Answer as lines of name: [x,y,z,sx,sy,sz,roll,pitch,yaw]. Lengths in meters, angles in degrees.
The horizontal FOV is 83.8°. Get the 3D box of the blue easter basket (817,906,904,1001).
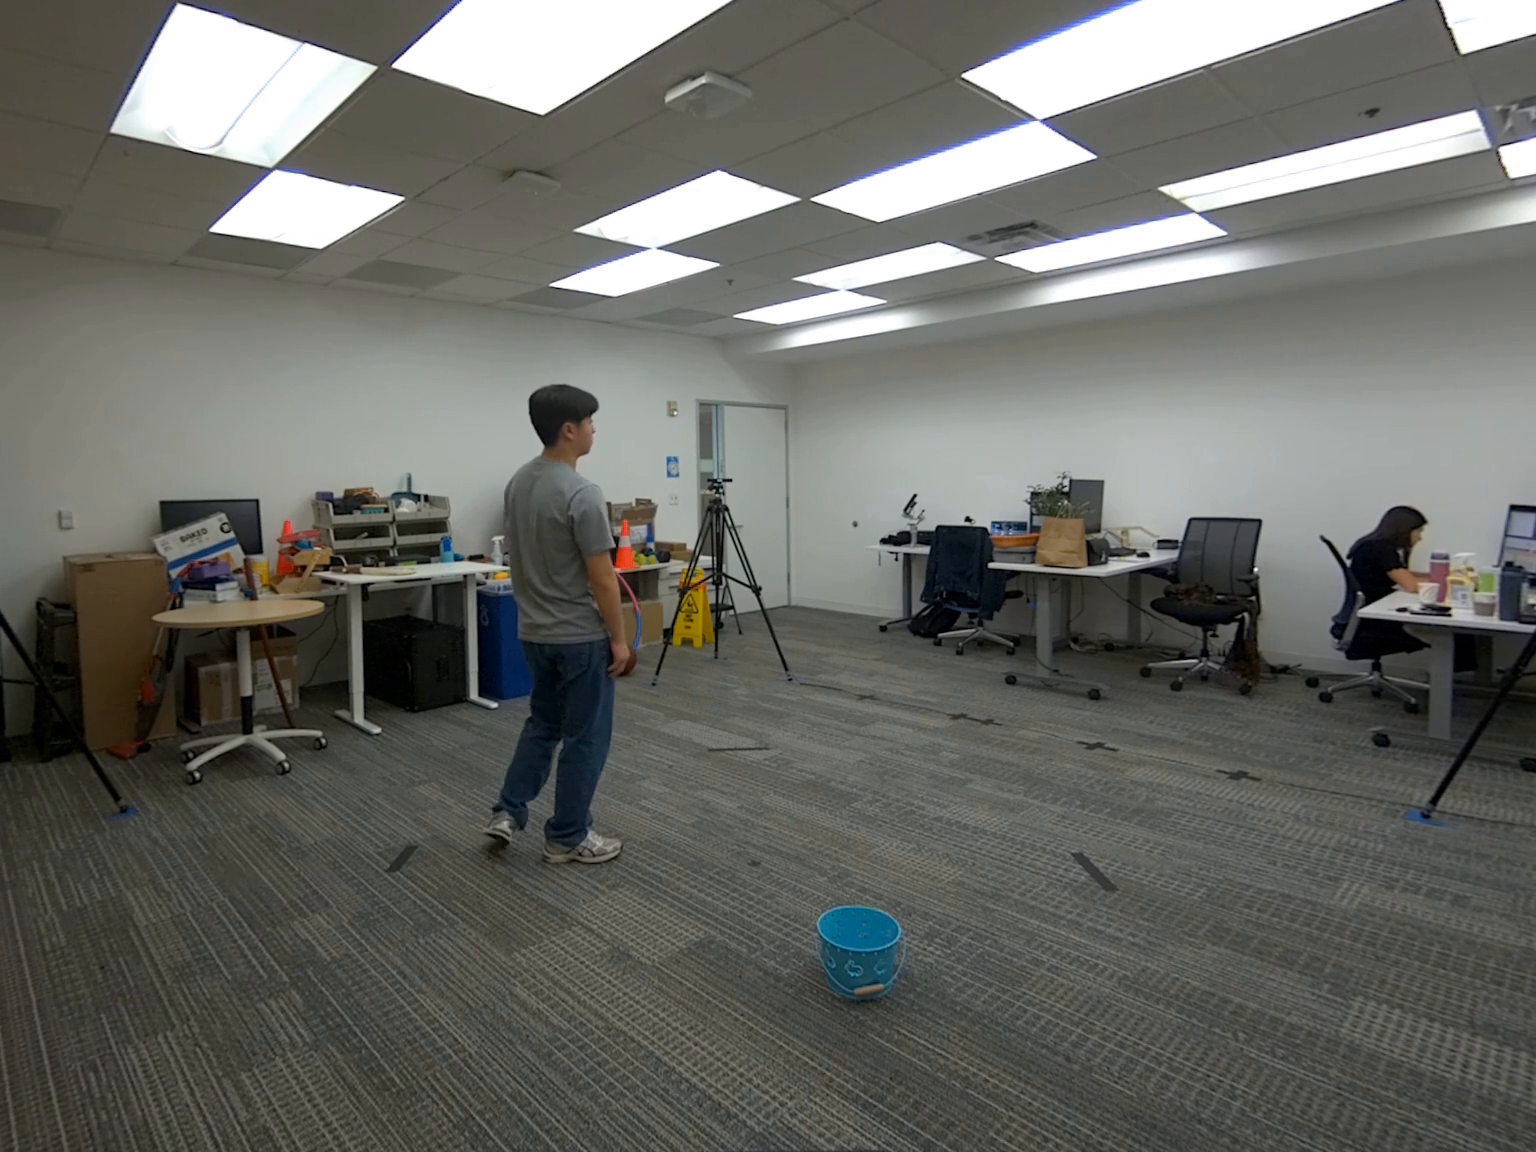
blue easter basket: [0.255,1.048,2.367,0.243,0.155,0.245,-1,5,-2]
